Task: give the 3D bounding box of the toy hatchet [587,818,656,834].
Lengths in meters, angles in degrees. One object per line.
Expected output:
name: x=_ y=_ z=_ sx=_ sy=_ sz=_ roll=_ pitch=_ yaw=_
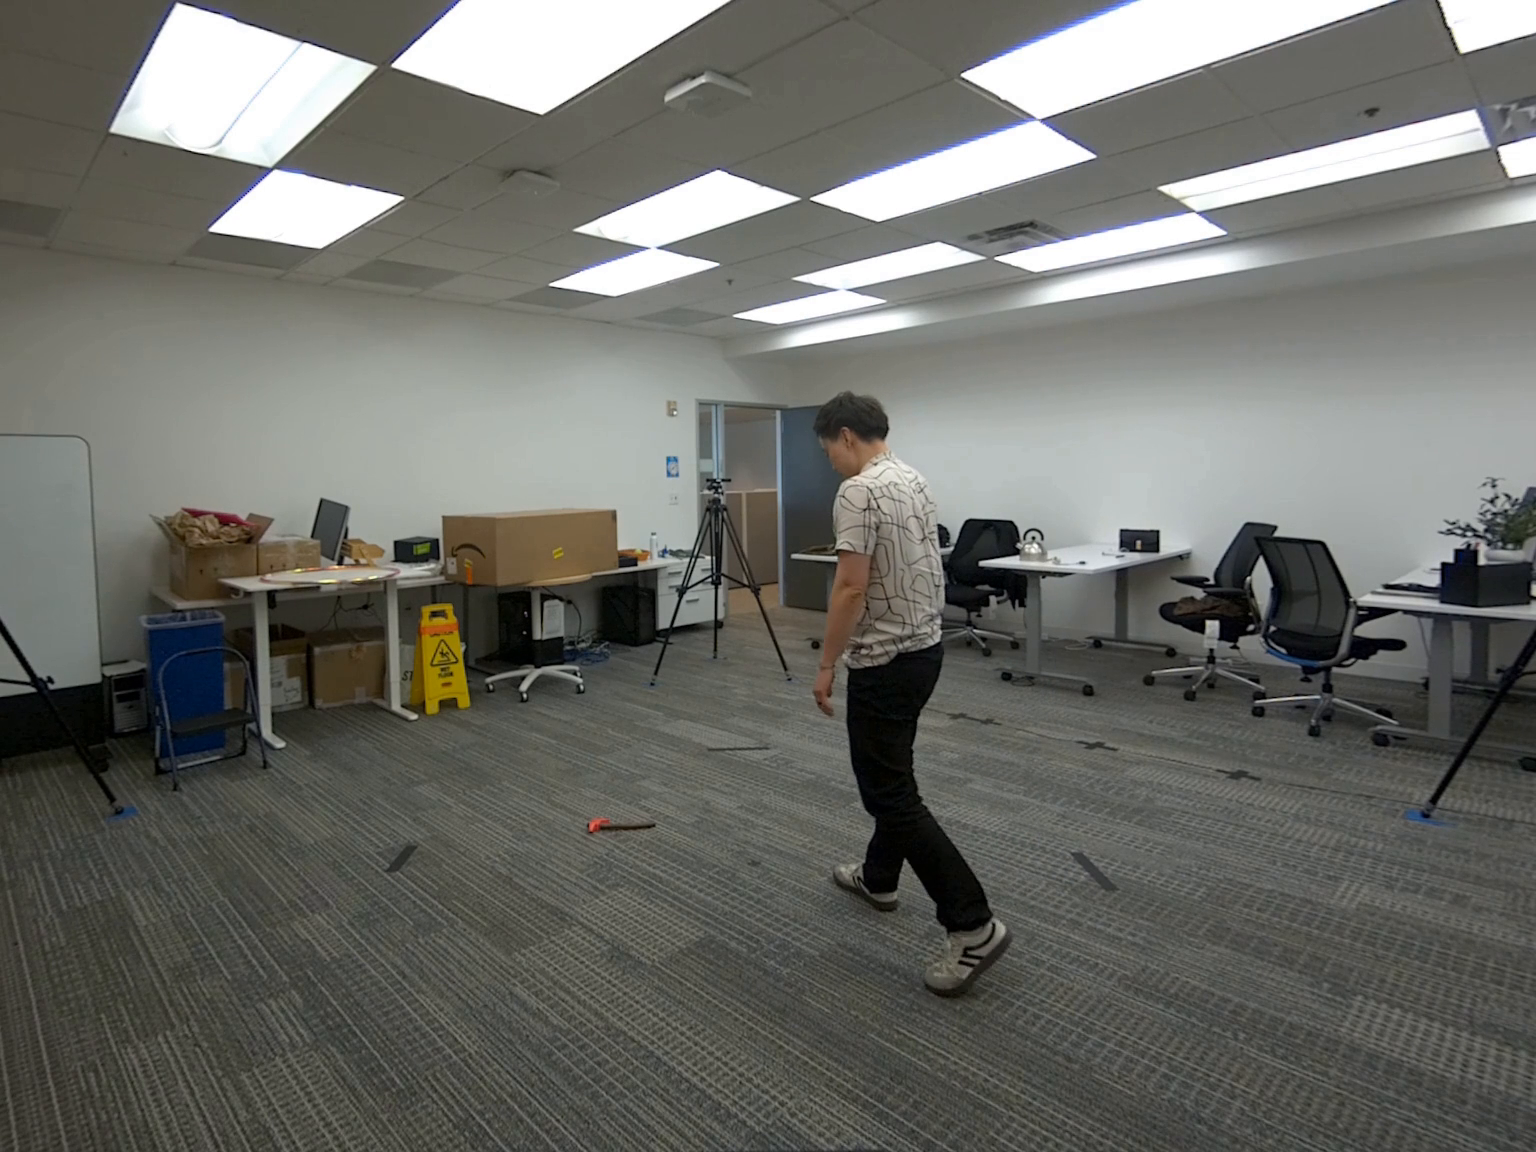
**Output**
toy hatchet: x=-0.598 y=1.004 z=3.468 sx=0.266 sy=0.029 sz=0.133 roll=-1 pitch=3 yaw=-15
